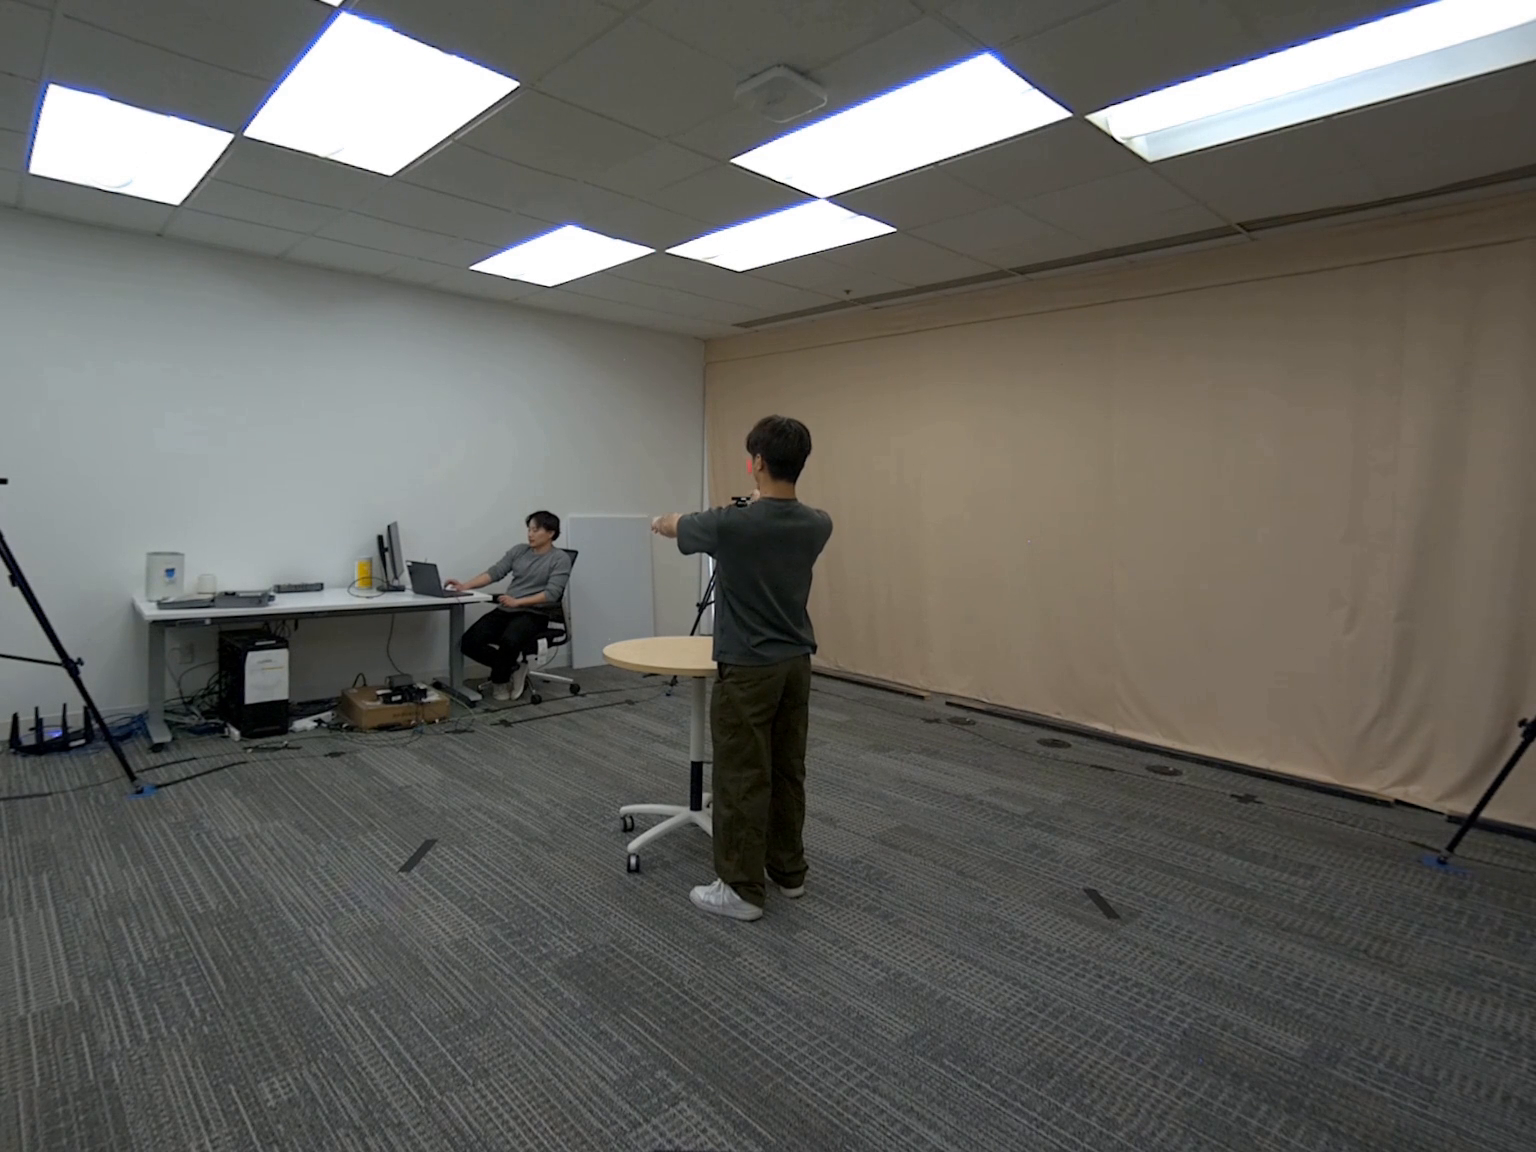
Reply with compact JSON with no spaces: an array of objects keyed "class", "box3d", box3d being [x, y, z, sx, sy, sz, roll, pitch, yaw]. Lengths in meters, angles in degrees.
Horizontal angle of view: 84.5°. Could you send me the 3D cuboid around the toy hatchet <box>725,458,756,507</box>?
[{"class":"toy hatchet","box3d":[-0.067,-0.356,3.454,0.129,0.272,0.030,31,-26,-14]}]
